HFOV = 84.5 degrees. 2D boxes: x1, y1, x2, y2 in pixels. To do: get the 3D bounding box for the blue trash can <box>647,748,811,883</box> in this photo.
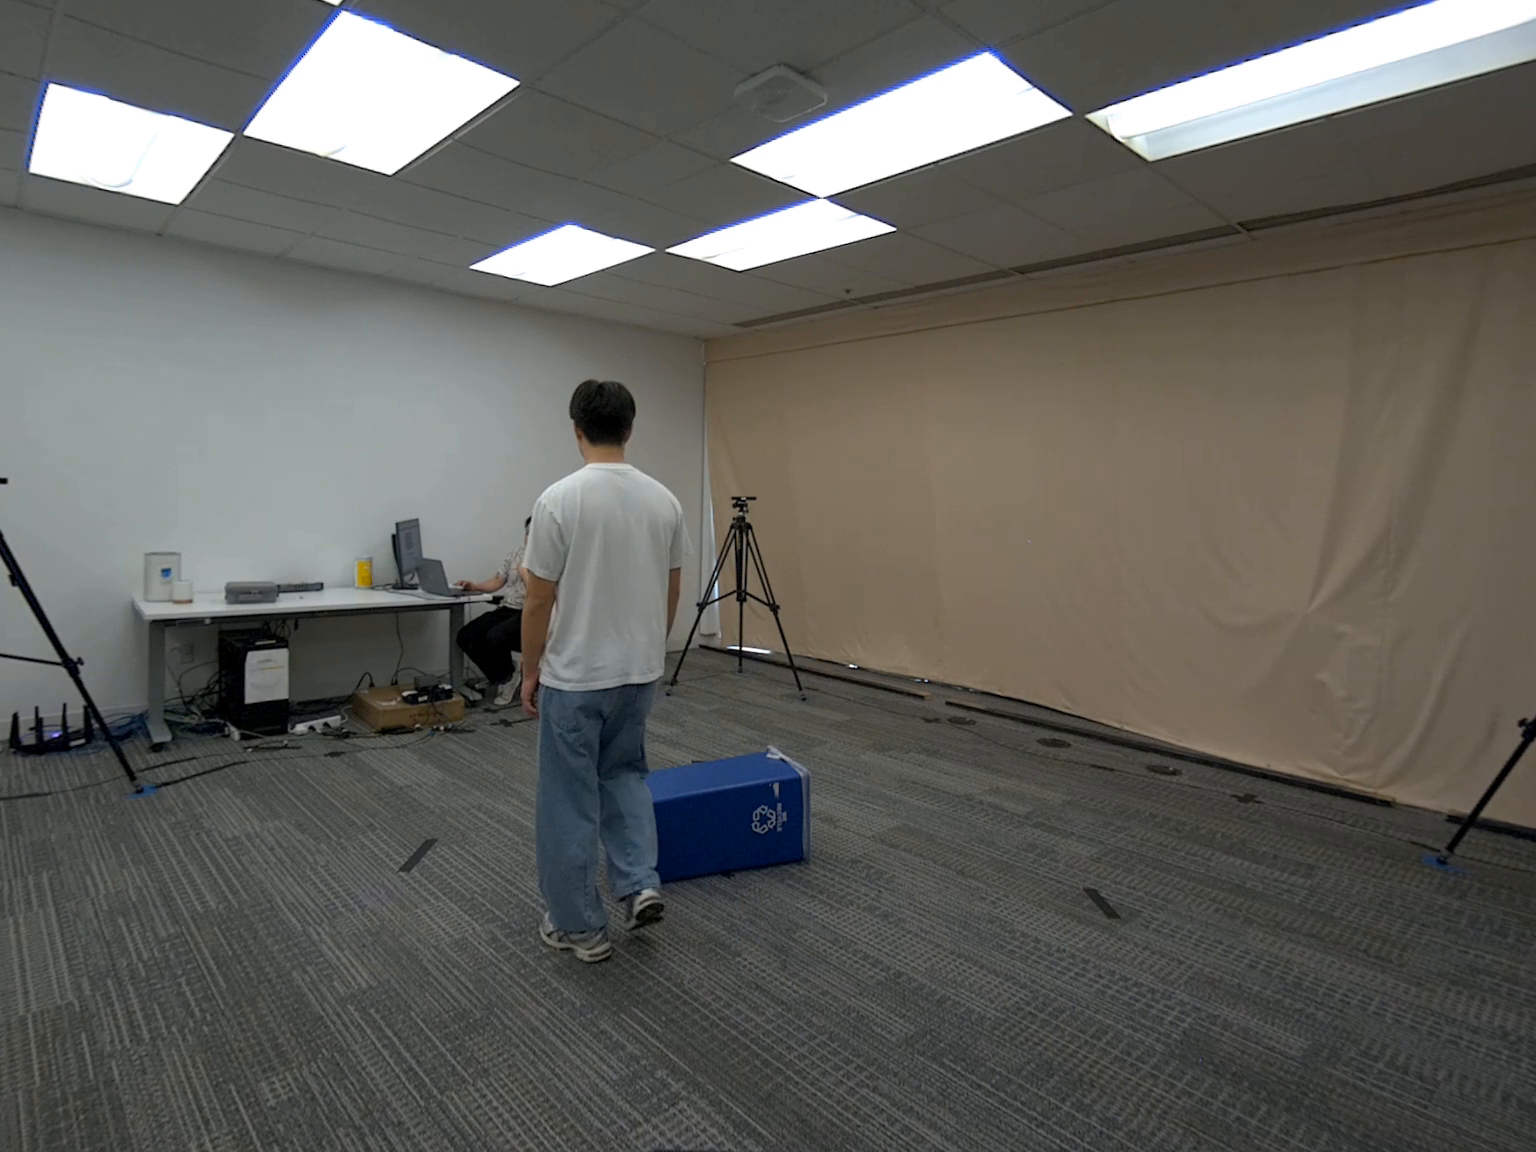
[{"bbox_3d":[-0.236,0.929,3.228,0.702,0.377,0.382,-4,6,-24],"label":"blue trash can"}]
